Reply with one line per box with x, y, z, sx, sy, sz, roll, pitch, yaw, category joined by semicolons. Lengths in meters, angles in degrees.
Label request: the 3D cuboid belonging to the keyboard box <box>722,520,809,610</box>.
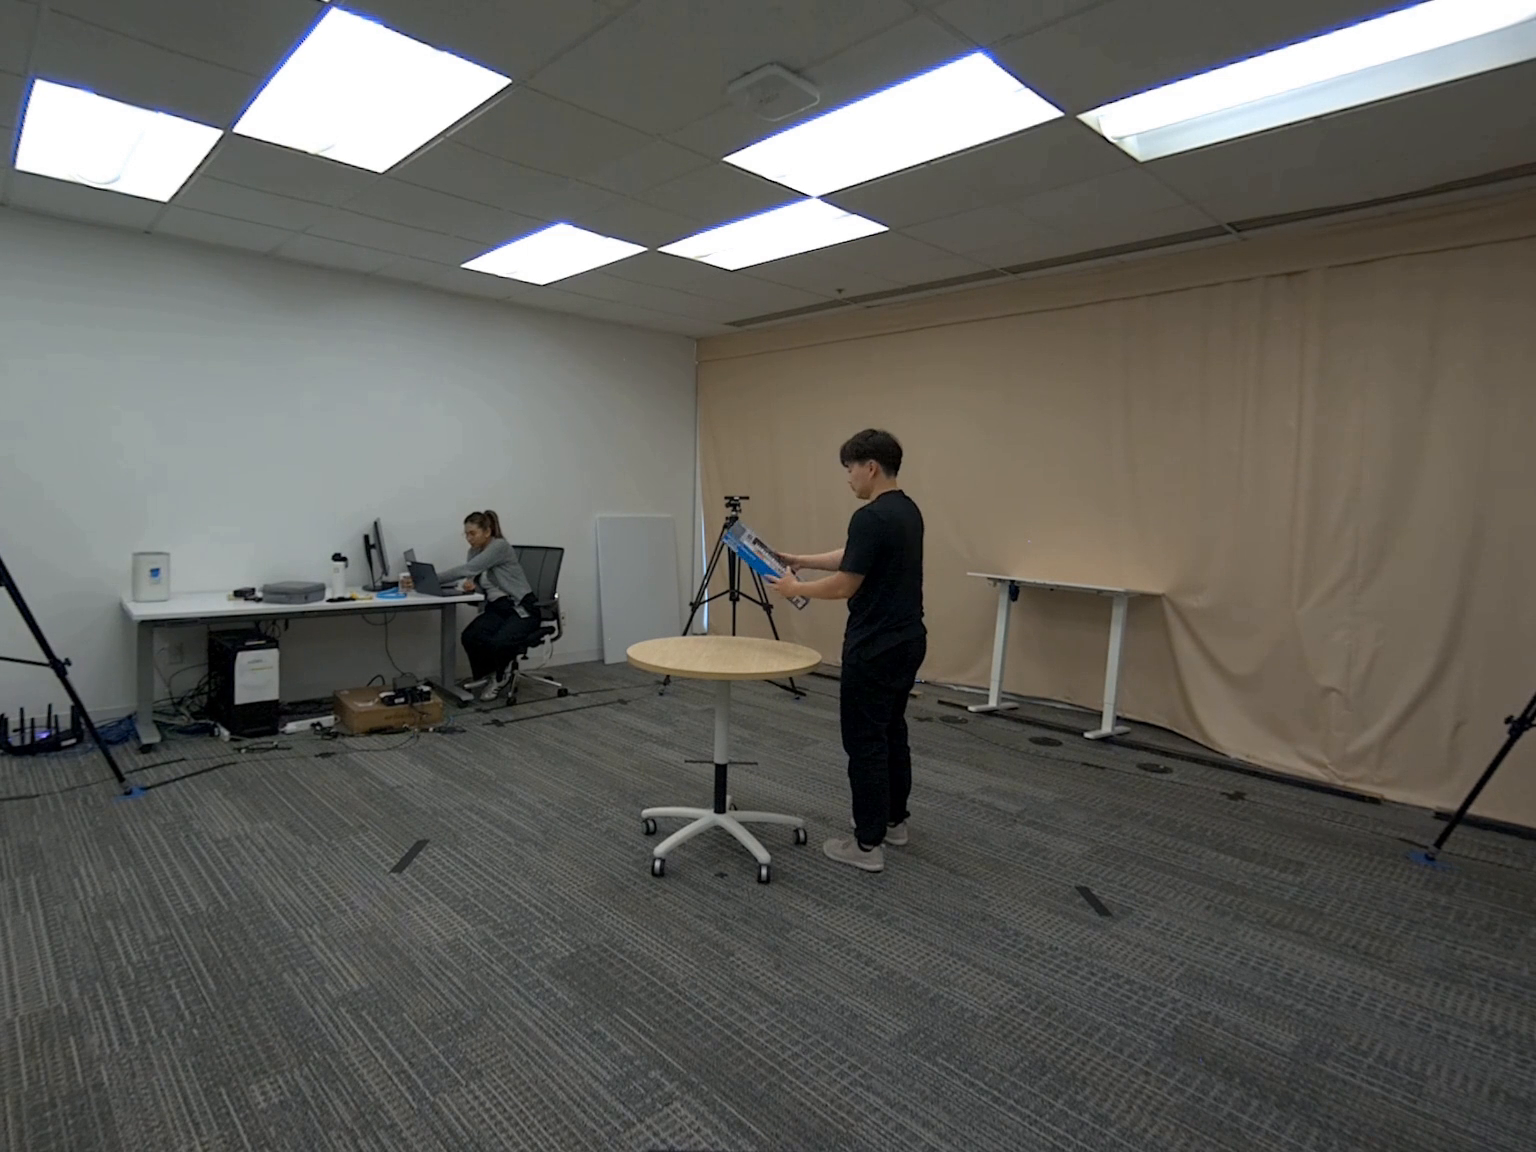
0.002;-0.040;3.497;0.436;0.059;0.176;42;23;-1;keyboard box
